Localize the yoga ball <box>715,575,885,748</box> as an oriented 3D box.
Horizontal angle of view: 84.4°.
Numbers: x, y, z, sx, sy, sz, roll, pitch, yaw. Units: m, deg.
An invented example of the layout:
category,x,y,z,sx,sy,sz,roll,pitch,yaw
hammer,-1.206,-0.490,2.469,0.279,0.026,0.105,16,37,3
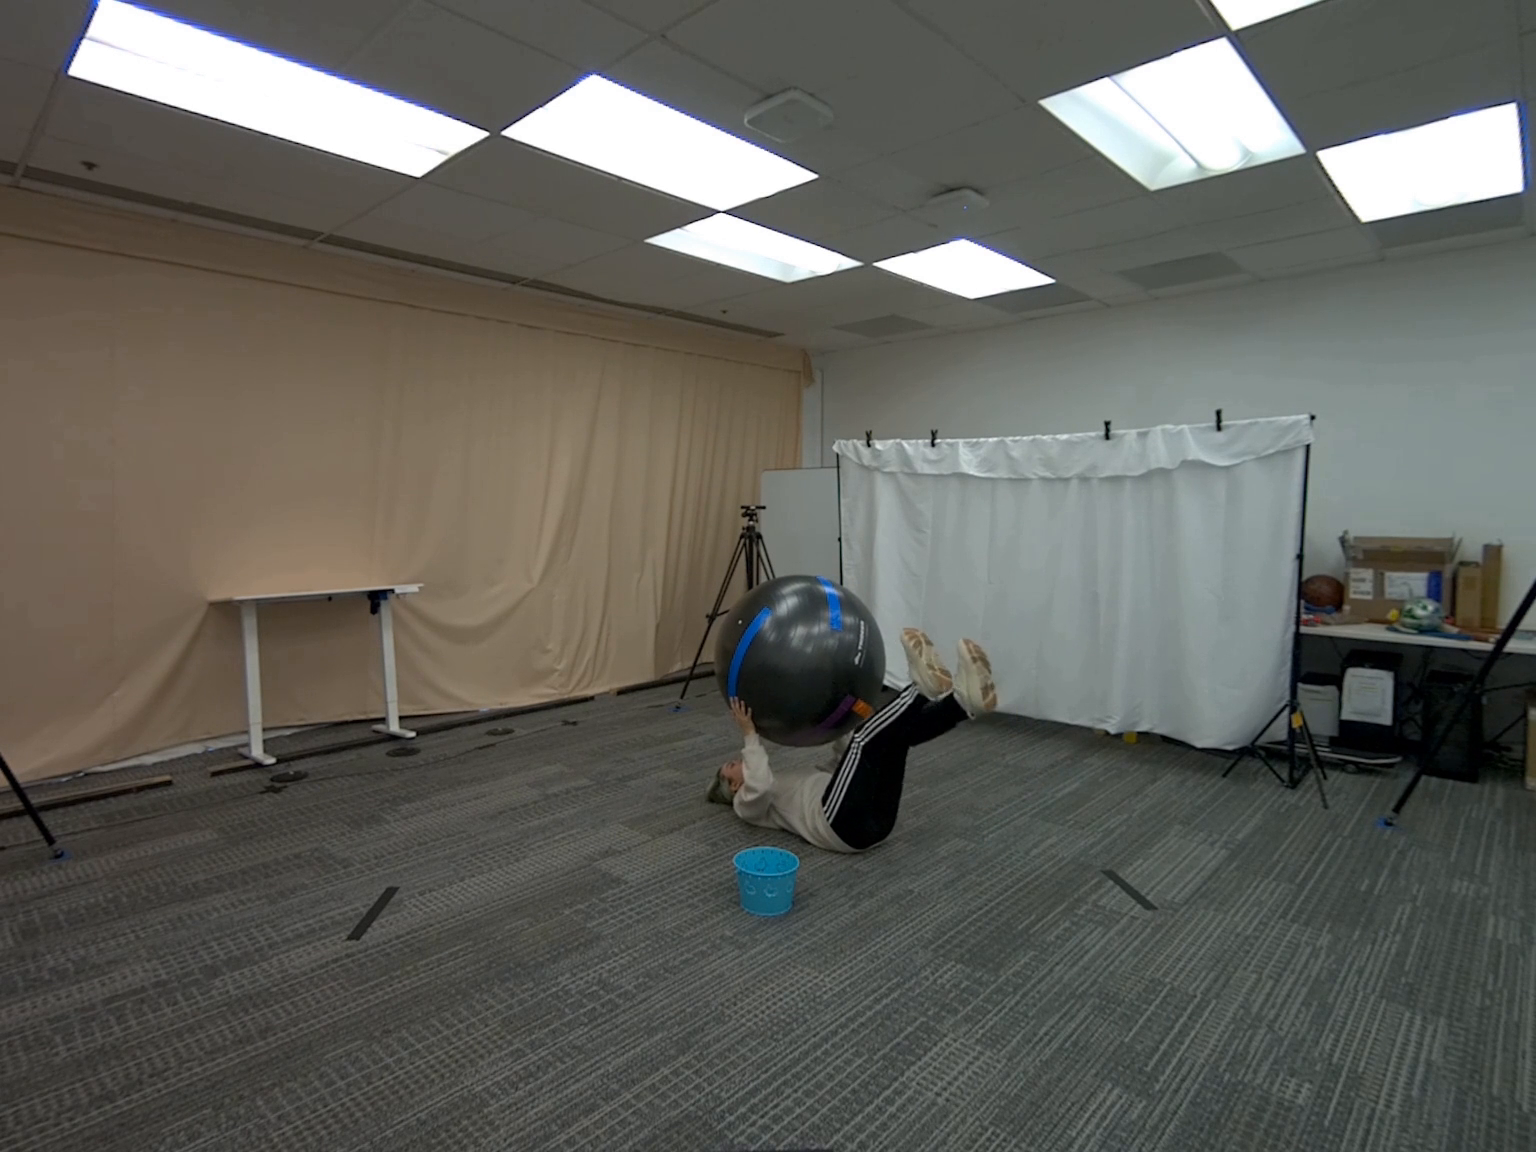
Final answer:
category,x,y,z,sx,sy,sz,roll,pitch,yaw
yoga ball,0.140,0.374,3.743,0.757,0.756,0.760,0,4,-2
